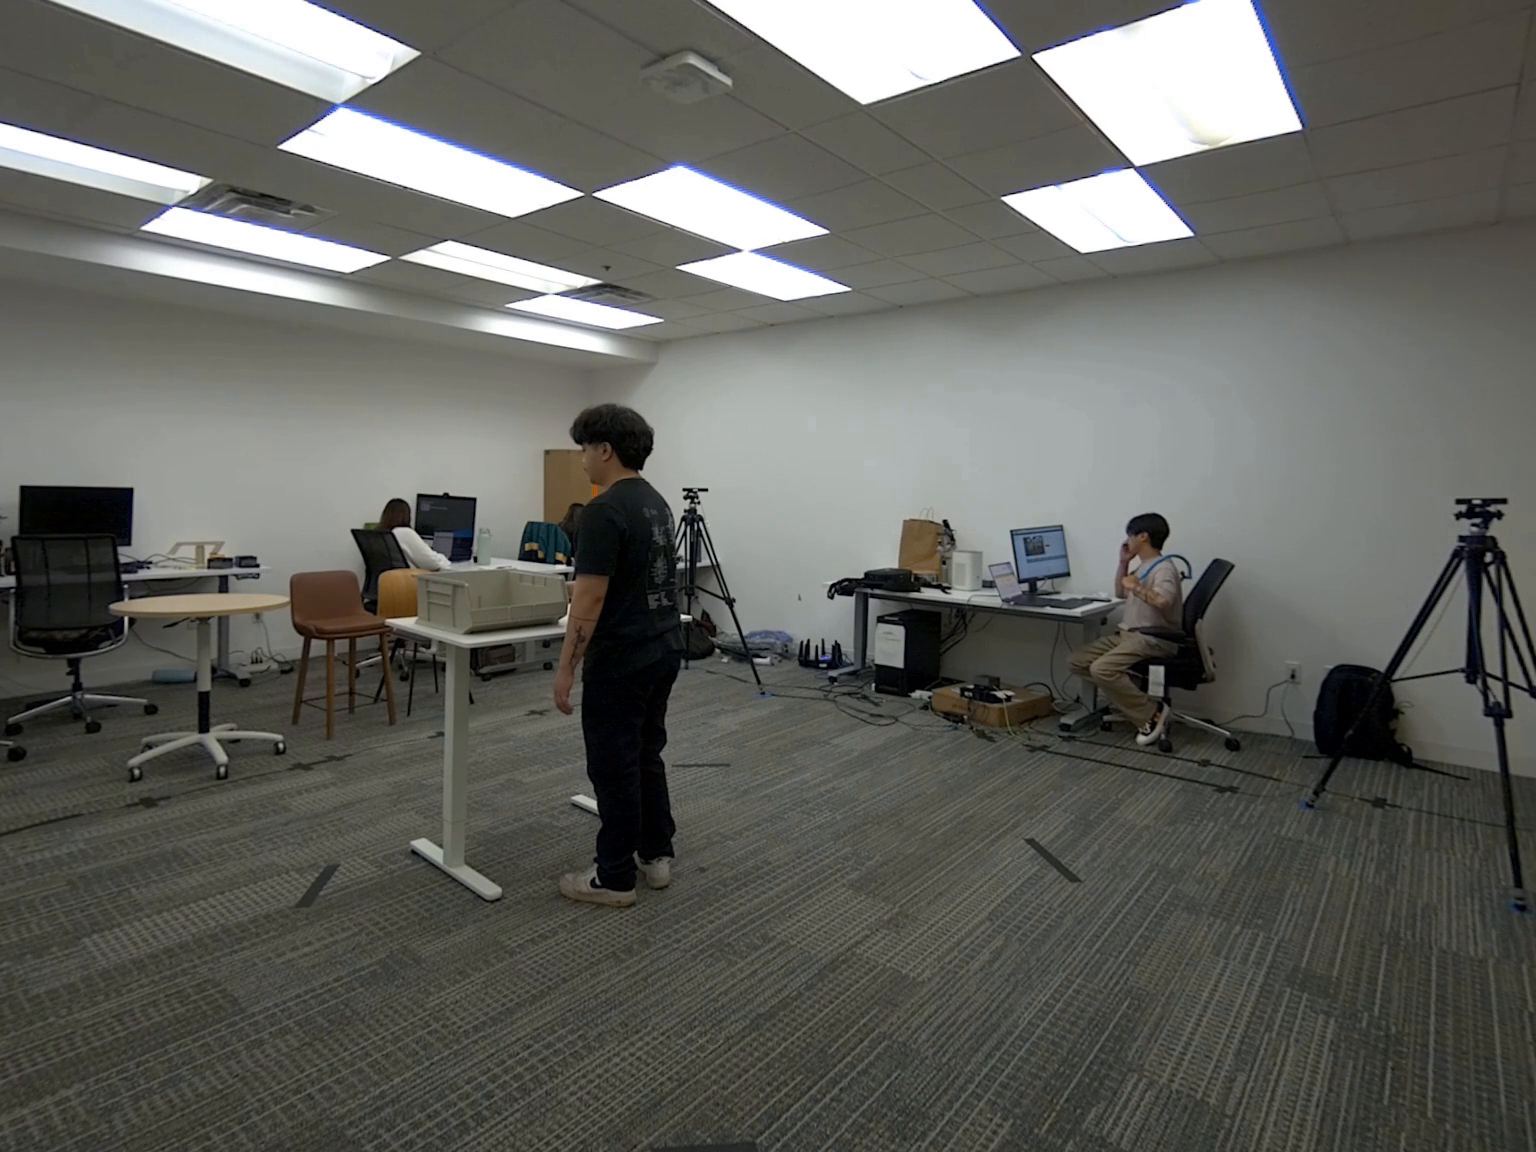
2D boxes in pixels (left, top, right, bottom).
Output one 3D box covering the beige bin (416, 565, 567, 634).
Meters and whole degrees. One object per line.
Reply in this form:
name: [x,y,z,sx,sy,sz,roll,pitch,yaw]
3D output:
beige bin: [-1.024,0.089,3.094,0.390,0.188,0.410,5,7,39]
